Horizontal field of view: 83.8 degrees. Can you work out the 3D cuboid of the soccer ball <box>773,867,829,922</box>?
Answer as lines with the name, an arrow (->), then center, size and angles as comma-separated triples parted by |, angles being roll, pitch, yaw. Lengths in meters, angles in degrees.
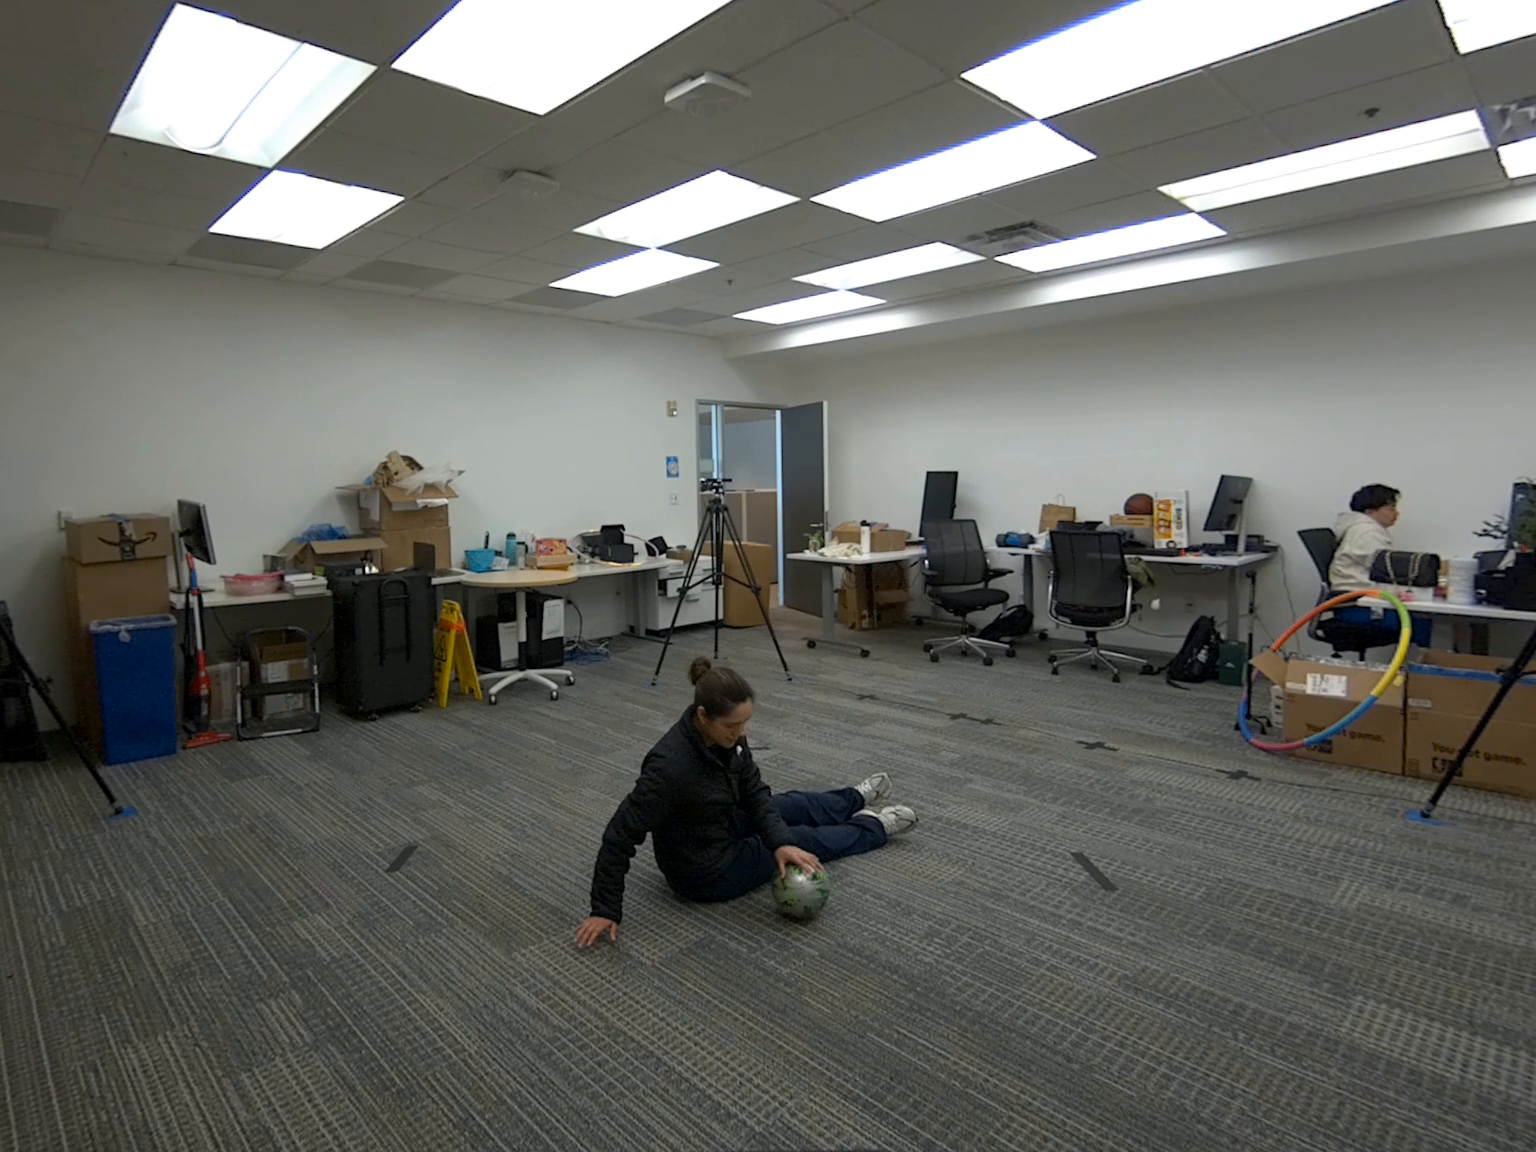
soccer ball -> 0.092, 0.988, 2.723 | 0.187, 0.187, 0.188 | -1, 5, -2
